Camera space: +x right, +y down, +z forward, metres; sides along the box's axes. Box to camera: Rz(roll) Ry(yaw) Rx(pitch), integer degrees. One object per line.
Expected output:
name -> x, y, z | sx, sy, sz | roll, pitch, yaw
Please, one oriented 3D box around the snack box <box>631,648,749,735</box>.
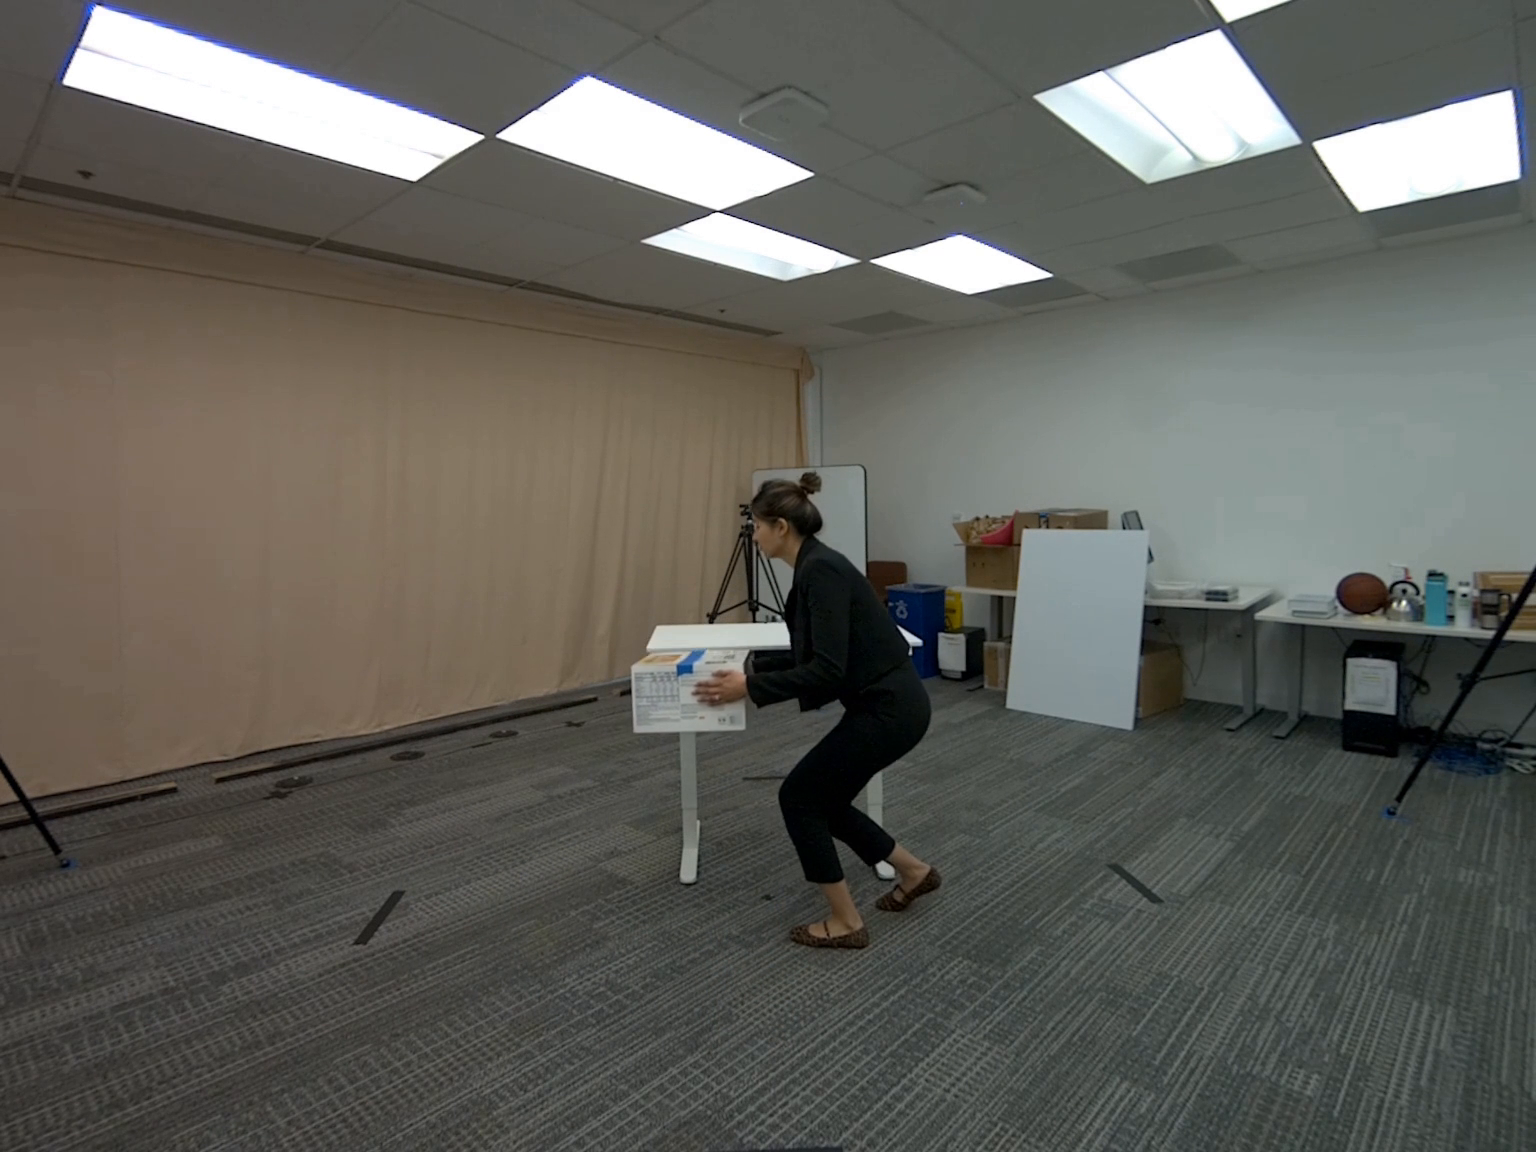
snack box -> -0.225, 0.367, 2.702 | 0.342, 0.206, 0.404 | -3, 1, 2
